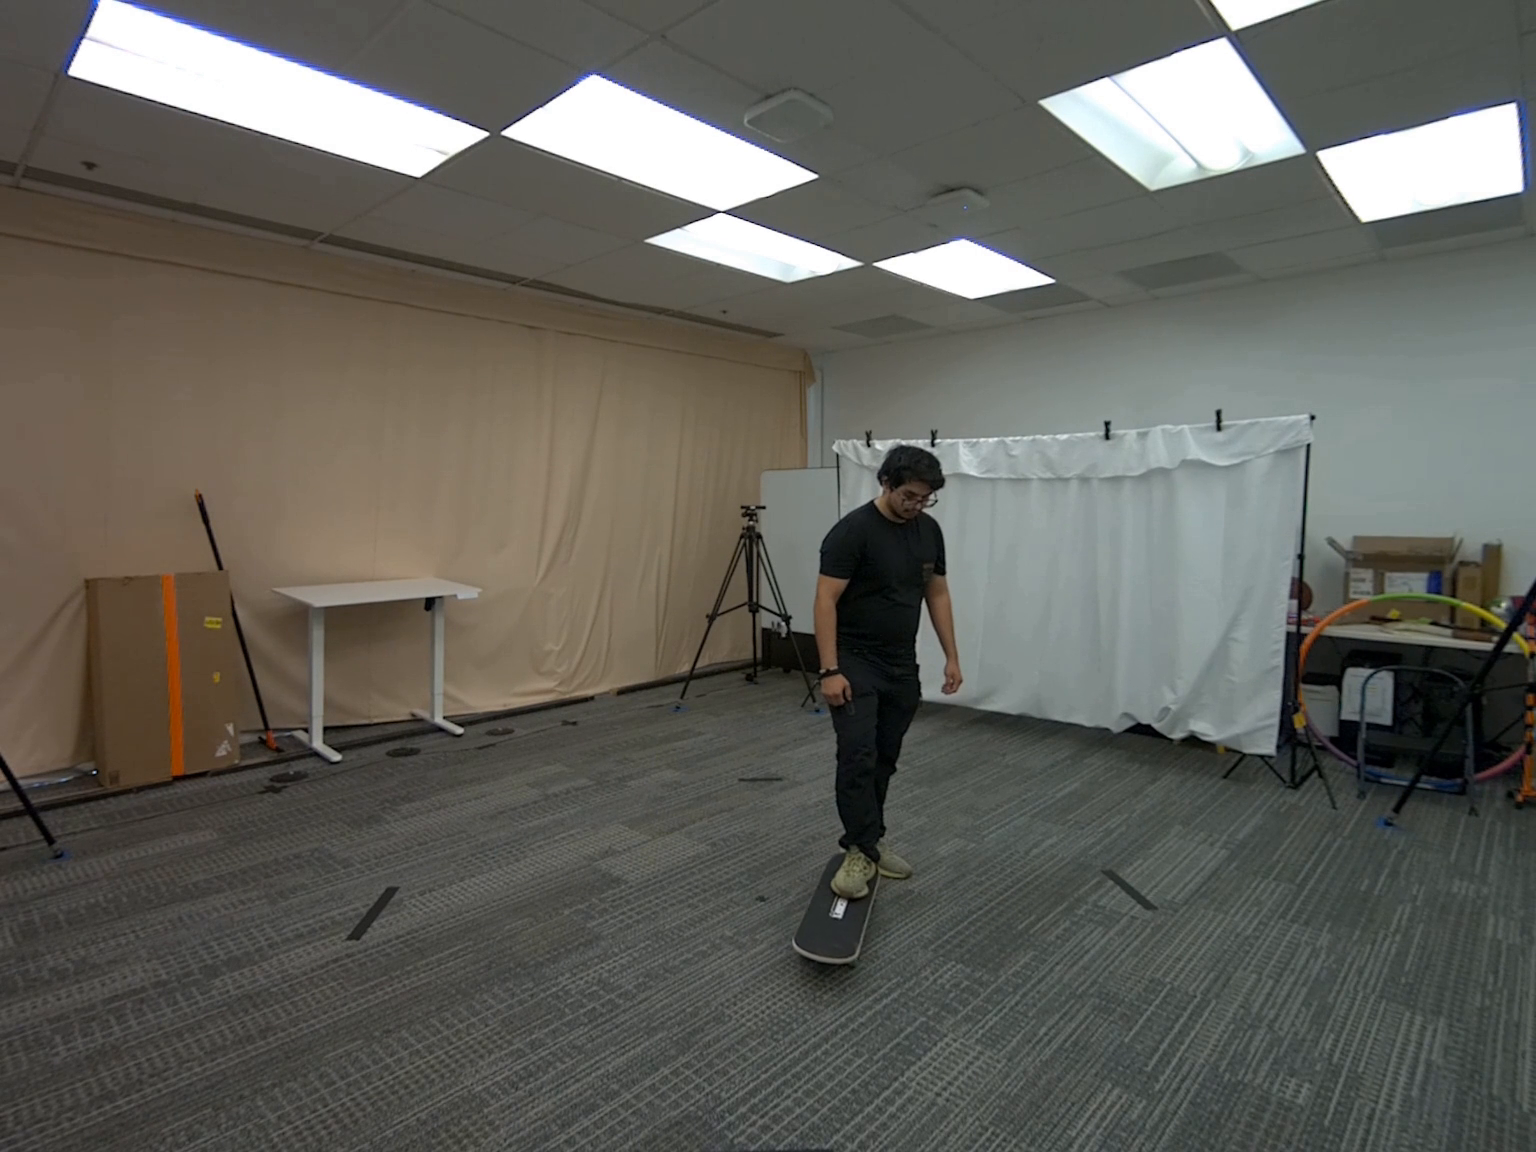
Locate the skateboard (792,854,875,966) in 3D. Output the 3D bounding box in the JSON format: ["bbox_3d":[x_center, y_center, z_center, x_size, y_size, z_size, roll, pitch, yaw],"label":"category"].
[{"bbox_3d":[0.240,1.108,2.748,0.197,0.110,0.773,5,4,14],"label":"skateboard"}]
